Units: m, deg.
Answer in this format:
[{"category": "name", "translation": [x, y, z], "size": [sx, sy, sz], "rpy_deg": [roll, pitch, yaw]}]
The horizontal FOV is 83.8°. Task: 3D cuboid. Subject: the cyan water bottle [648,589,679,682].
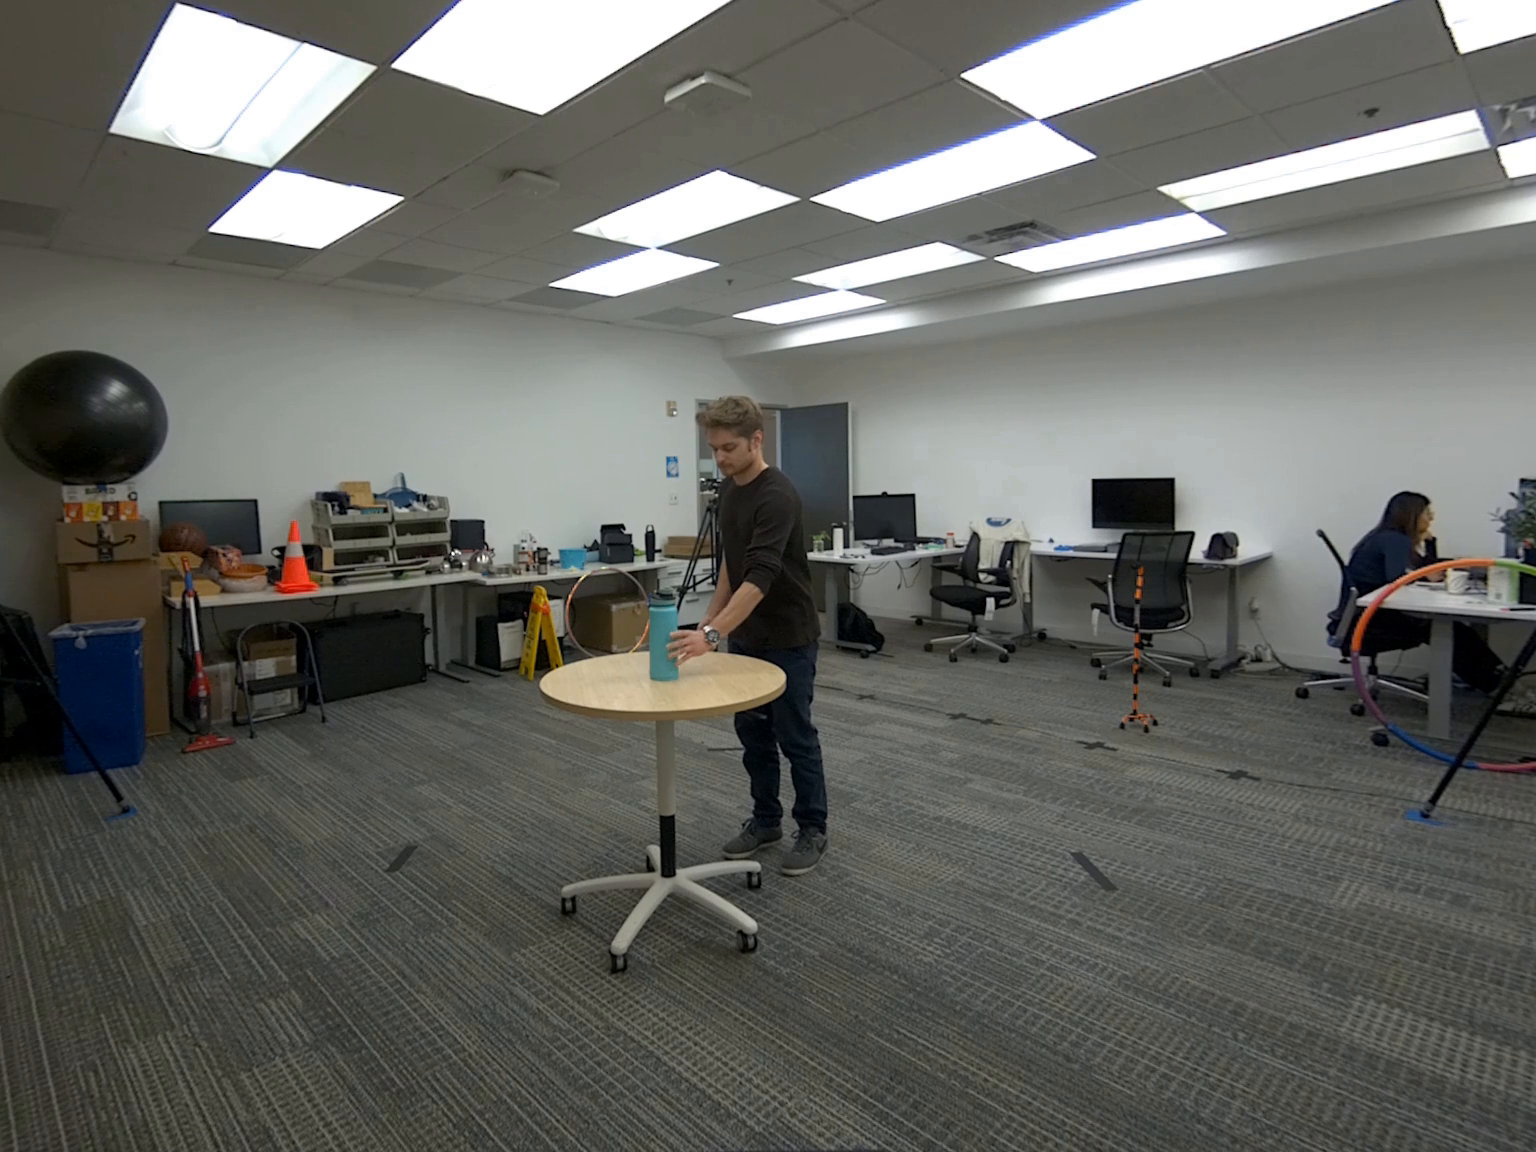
[{"category": "cyan water bottle", "translation": [-0.324, 0.181, 2.655], "size": [0.092, 0.282, 0.093], "rpy_deg": [-2, 4, -1]}]
